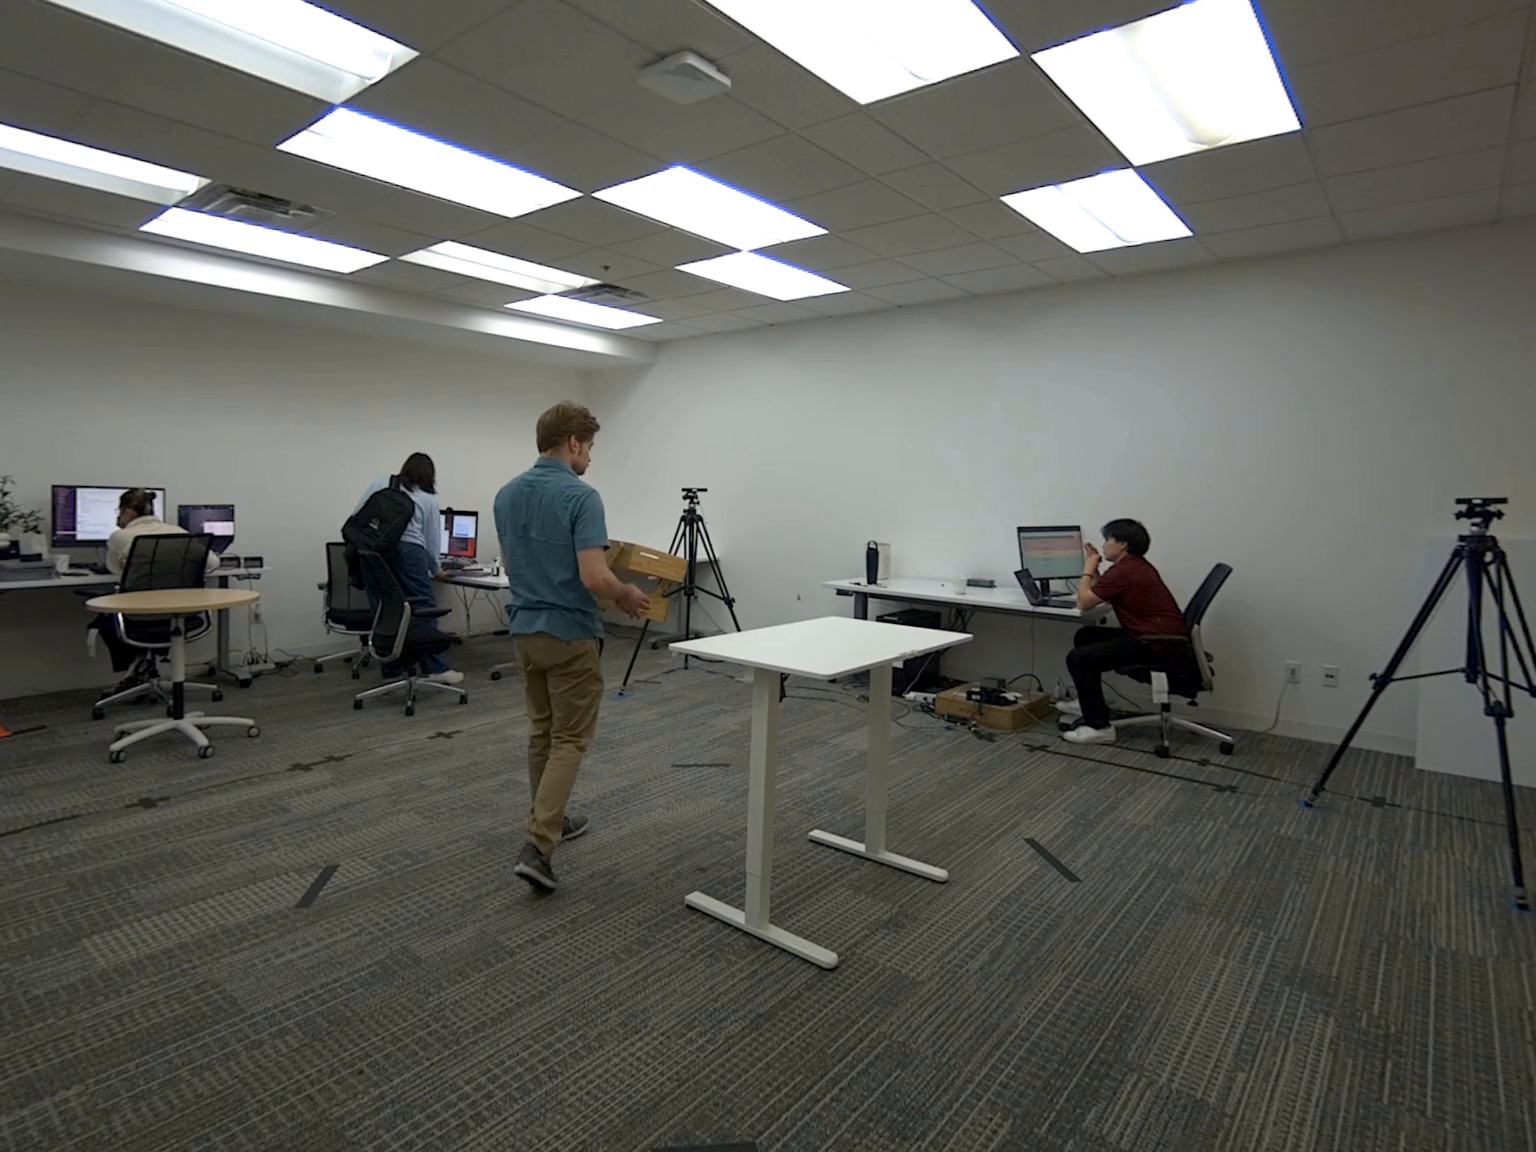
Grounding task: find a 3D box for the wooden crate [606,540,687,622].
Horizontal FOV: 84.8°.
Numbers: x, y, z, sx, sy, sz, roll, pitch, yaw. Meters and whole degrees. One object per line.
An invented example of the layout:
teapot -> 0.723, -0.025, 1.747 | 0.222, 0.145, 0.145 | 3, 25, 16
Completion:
wooden crate -> -0.560, 0.013, 3.313 | 0.313, 0.274, 0.312 | 8, -7, 41
